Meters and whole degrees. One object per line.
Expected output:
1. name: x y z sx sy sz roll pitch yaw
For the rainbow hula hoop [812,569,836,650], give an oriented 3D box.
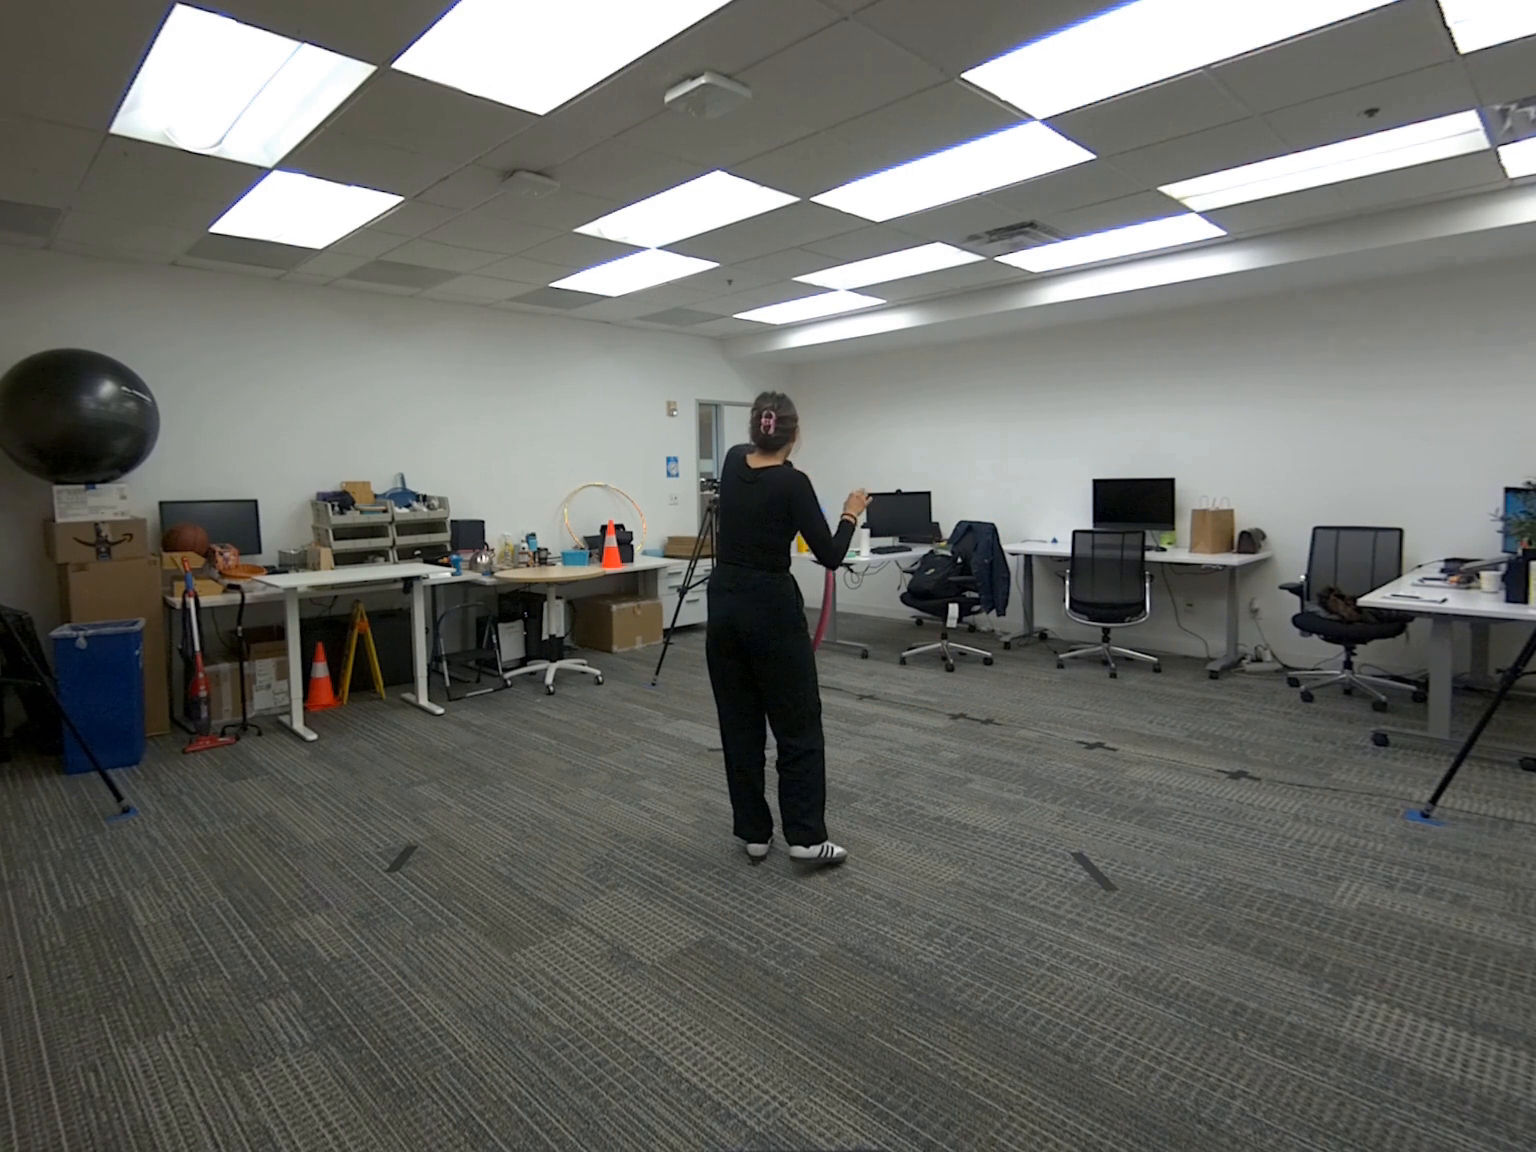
1. rainbow hula hoop: 0.017 0.051 3.718 0.050 0.986 1.010 10 0 -27
